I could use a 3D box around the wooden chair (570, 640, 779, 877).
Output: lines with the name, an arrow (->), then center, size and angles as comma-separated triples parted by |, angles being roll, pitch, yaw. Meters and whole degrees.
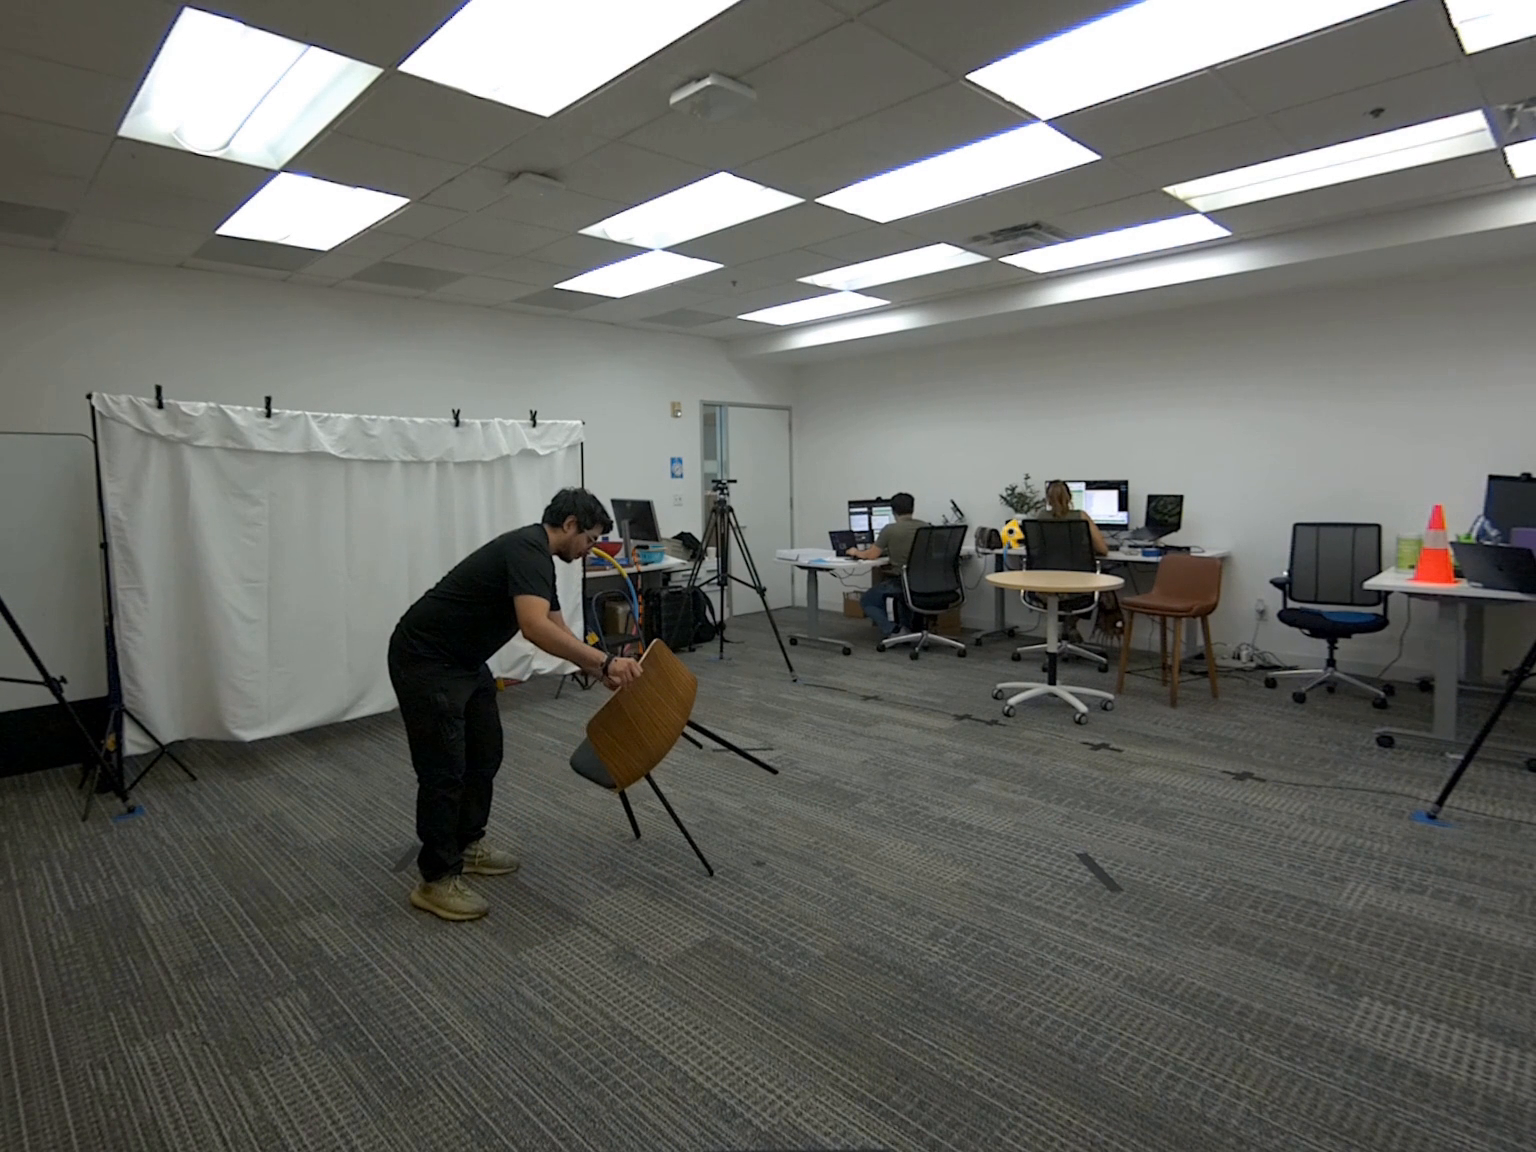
wooden chair -> -0.446, 0.584, 3.091 | 0.540, 0.847, 0.479 | 8, 50, 43
